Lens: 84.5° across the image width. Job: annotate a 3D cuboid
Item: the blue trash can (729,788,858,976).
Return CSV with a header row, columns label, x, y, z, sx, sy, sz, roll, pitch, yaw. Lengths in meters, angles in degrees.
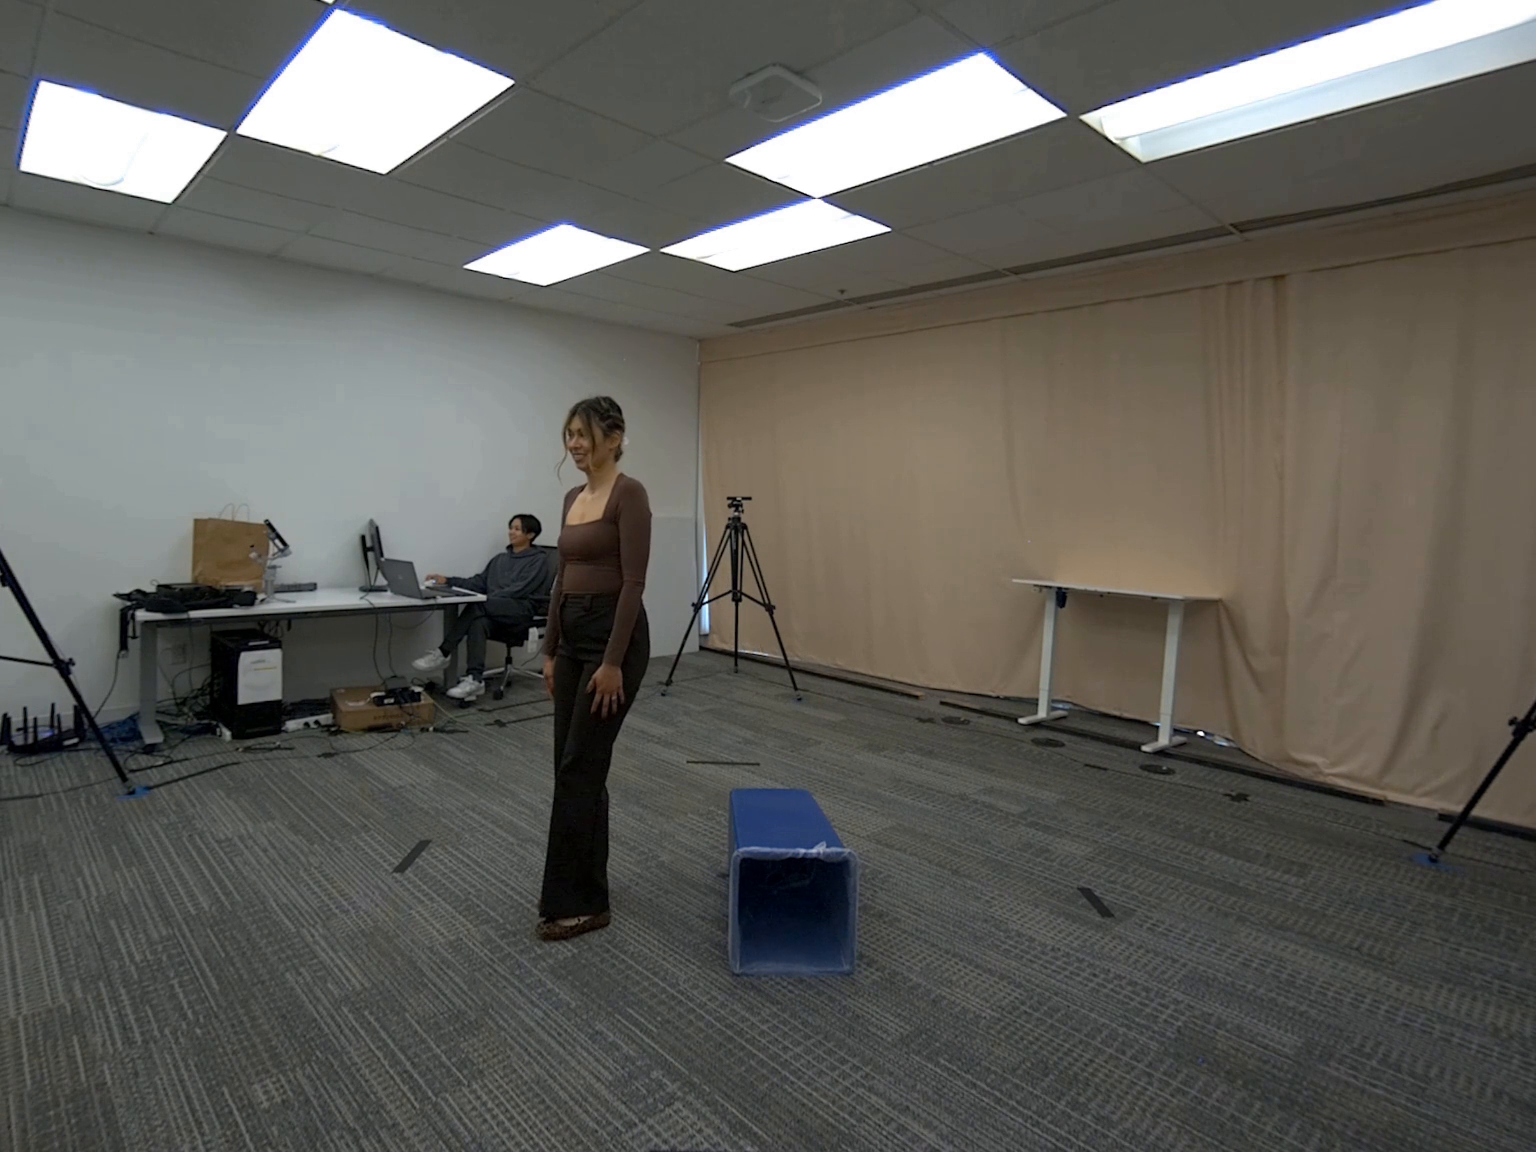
label,x,y,z,sx,sy,sz,roll,pitch,yaw
blue trash can,0.032,0.974,2.810,0.372,0.378,0.717,1,2,-7
